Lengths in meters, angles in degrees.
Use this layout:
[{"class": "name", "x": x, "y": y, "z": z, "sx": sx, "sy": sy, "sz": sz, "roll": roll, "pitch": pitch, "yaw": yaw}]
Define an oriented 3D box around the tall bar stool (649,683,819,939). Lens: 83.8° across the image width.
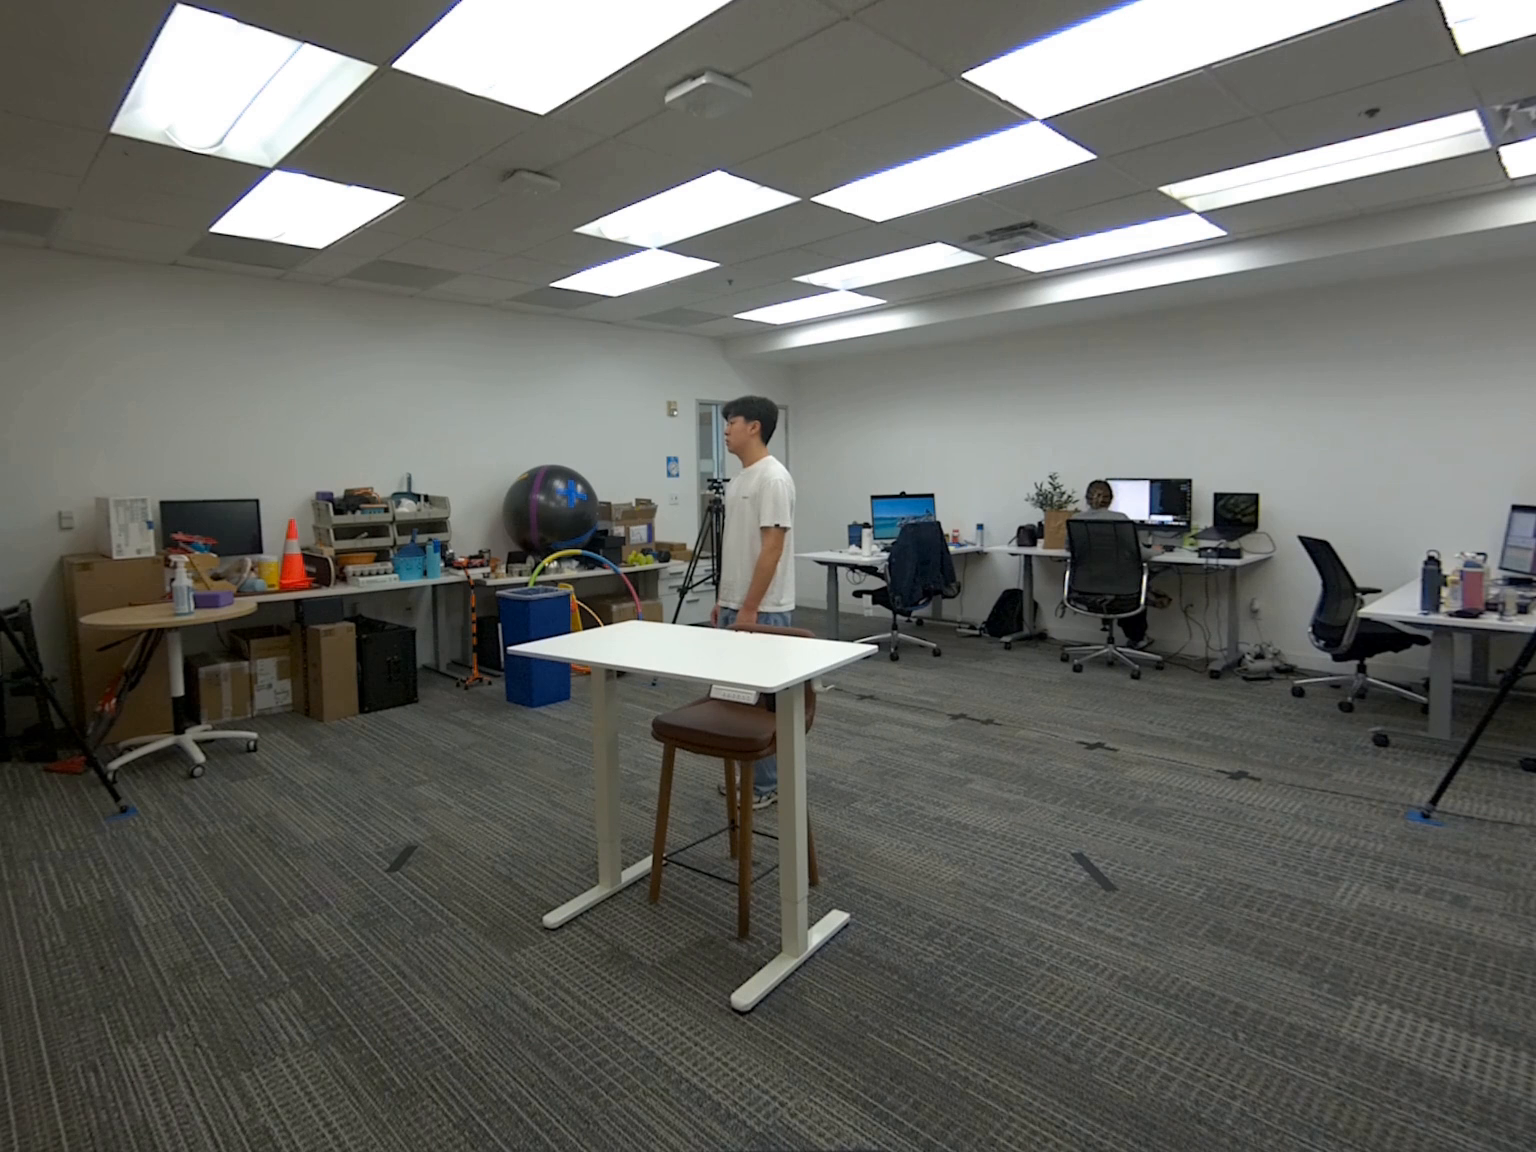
[{"class": "tall bar stool", "x": -0.109, "y": 0.645, "z": 2.869, "sx": 0.470, "sy": 0.889, "sz": 0.454, "roll": 3, "pitch": 2, "yaw": 39}]
